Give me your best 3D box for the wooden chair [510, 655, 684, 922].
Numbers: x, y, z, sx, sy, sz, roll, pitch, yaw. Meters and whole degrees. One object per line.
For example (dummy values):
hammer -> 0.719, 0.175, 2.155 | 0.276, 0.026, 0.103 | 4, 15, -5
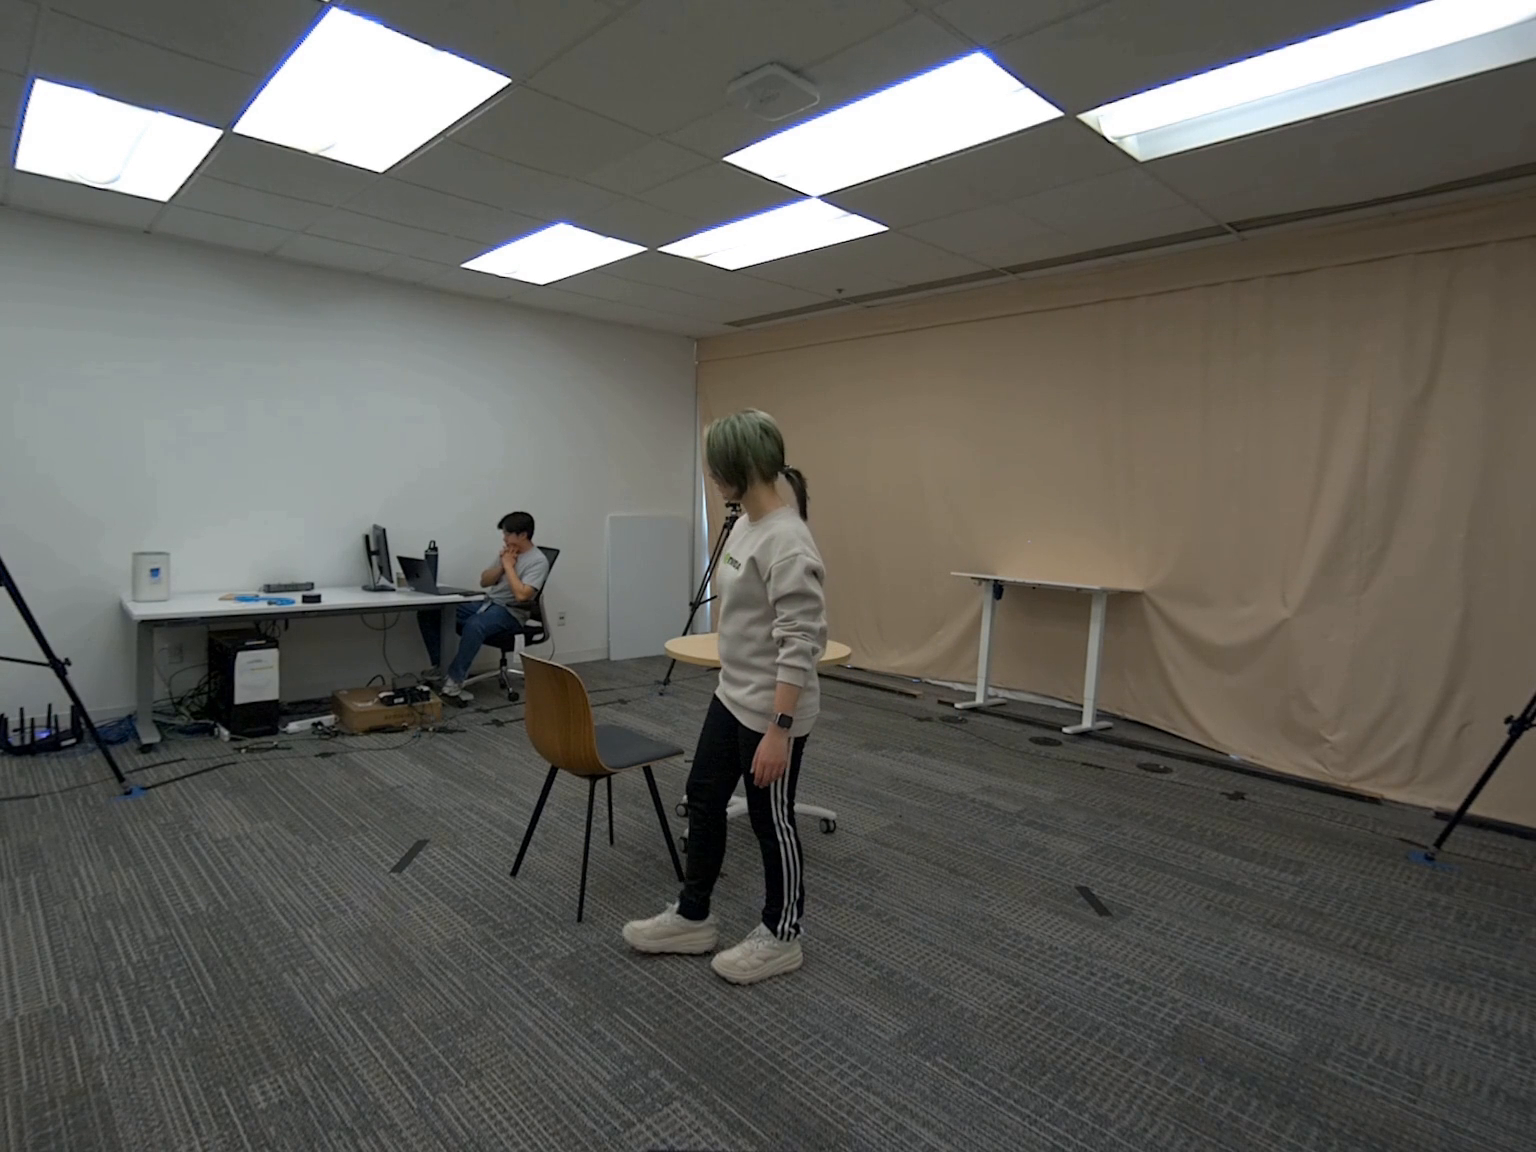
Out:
wooden chair -> -0.605, 0.673, 3.025 | 0.512, 0.873, 0.490 | -8, 9, -44
